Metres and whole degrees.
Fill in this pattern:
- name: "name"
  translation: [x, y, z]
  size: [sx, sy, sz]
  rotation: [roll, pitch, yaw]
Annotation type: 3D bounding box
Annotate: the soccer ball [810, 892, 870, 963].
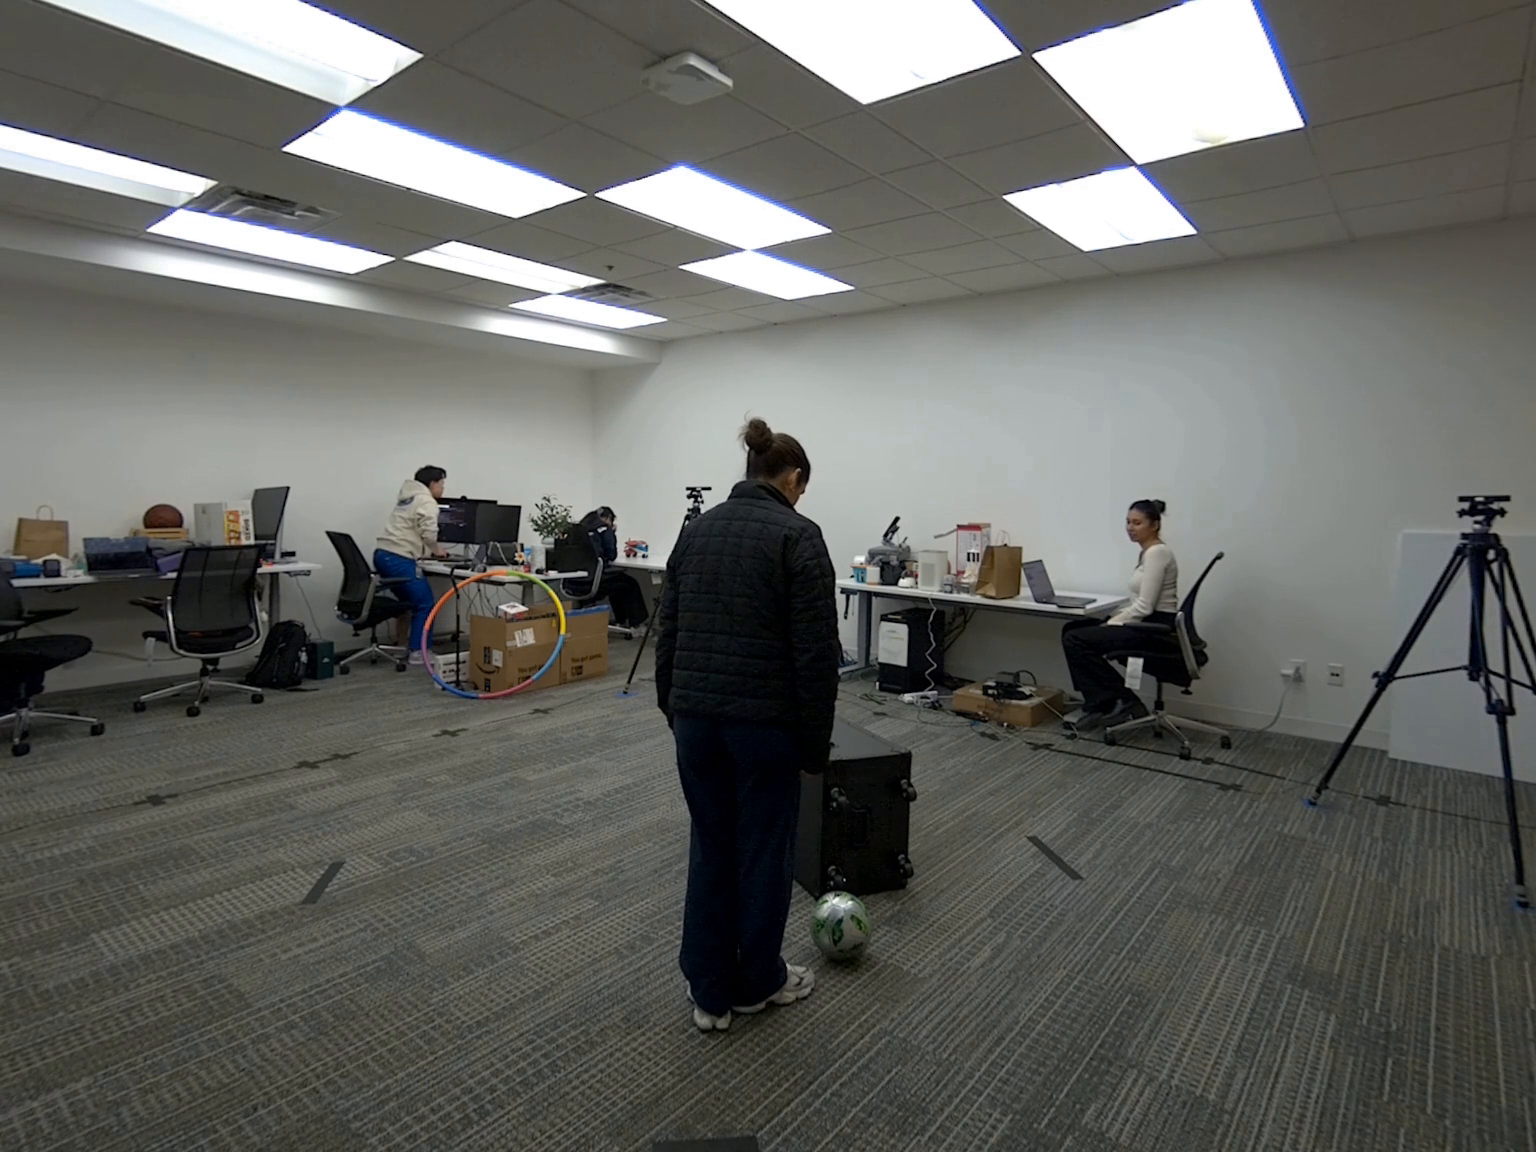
- name: "soccer ball"
  translation: [0.210, 1.035, 2.540]
  size: [0.187, 0.187, 0.188]
  rotation: [1, 4, -2]
